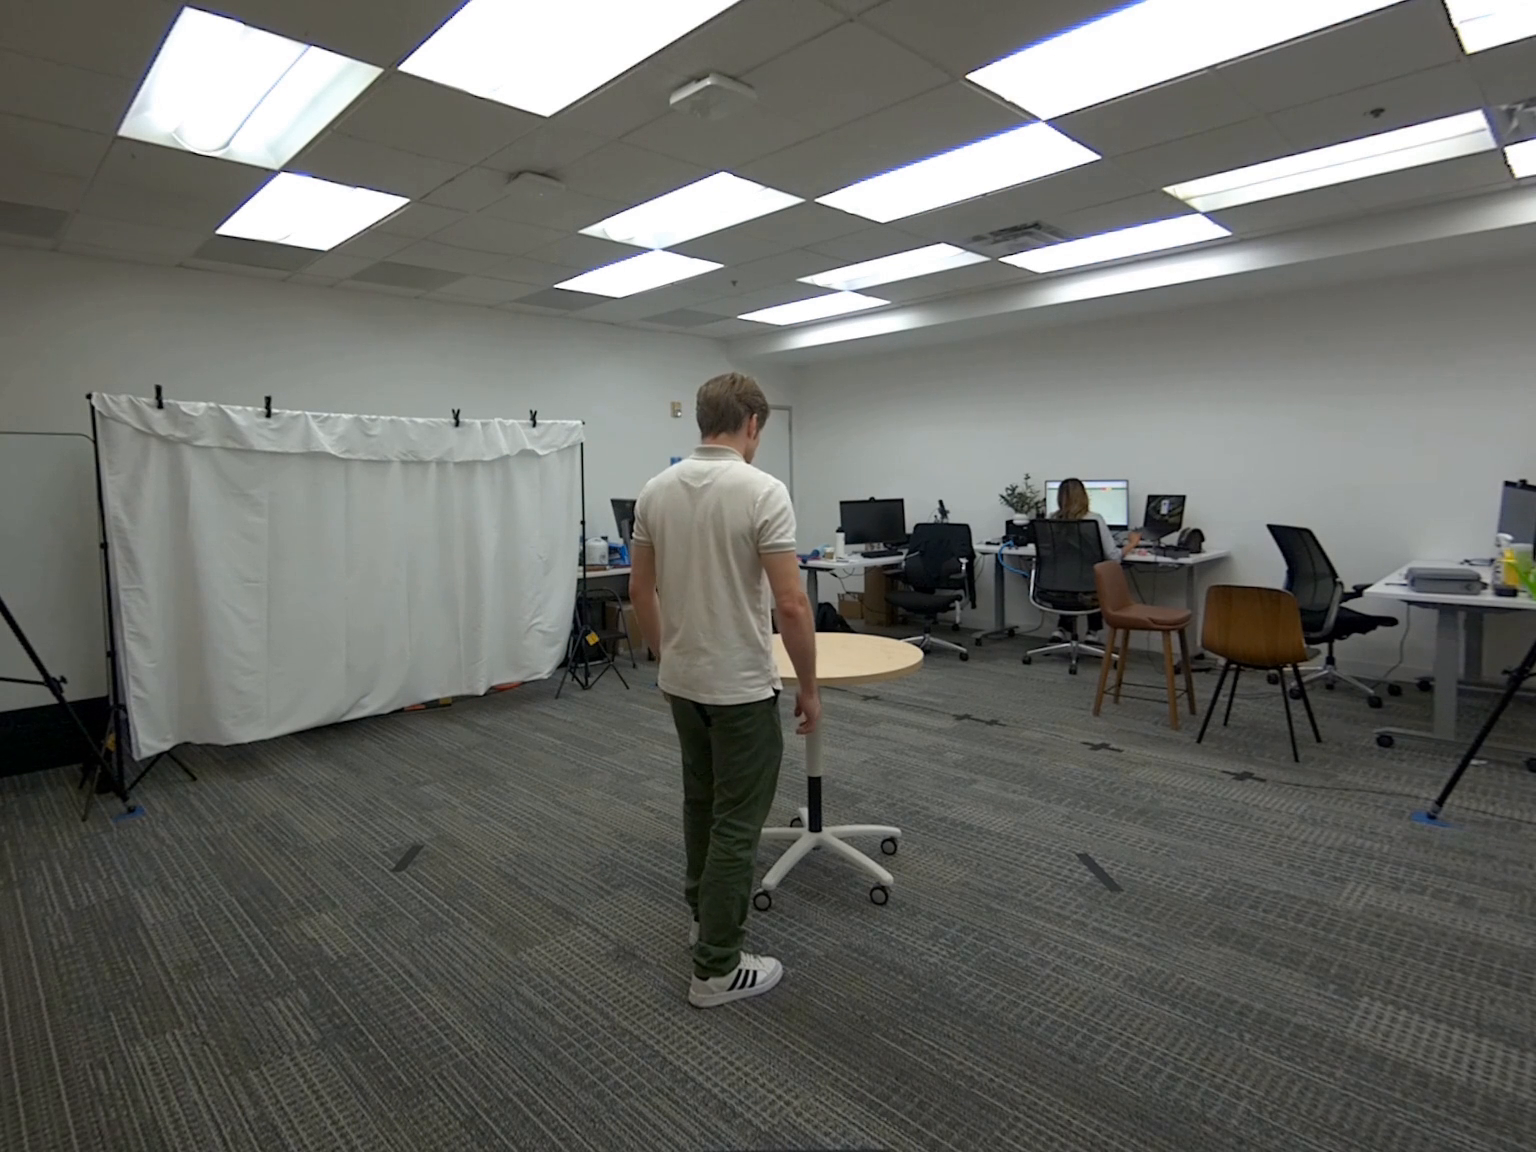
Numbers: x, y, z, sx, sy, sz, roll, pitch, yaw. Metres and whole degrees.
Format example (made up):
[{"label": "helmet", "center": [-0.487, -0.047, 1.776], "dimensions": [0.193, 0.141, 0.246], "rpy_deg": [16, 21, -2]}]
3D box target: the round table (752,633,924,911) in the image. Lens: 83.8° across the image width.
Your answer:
[{"label": "round table", "center": [0.180, 0.657, 3.042], "dimensions": [0.784, 0.783, 0.789], "rpy_deg": [-2, 5, -2]}]
